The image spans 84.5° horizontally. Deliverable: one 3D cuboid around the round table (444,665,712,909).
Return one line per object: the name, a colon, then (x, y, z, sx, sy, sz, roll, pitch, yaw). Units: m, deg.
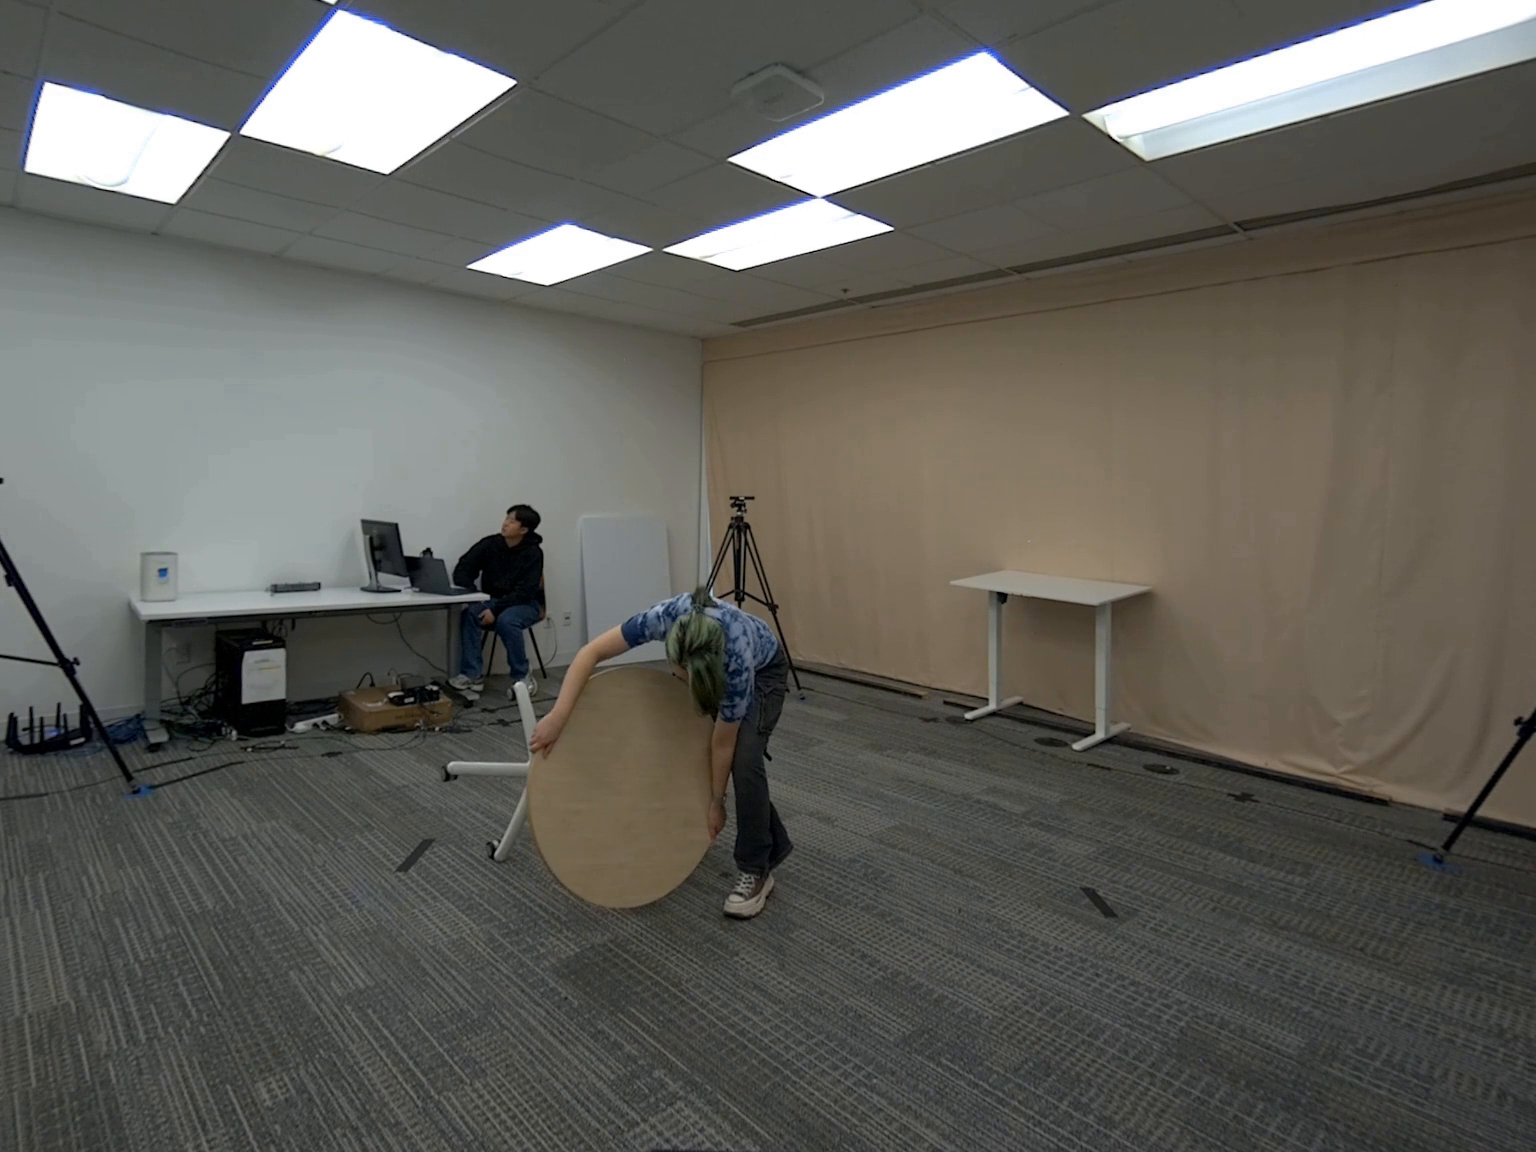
round table: (-0.710, 0.726, 3.071, 0.746, 0.767, 0.809, -2, -5, -41)
